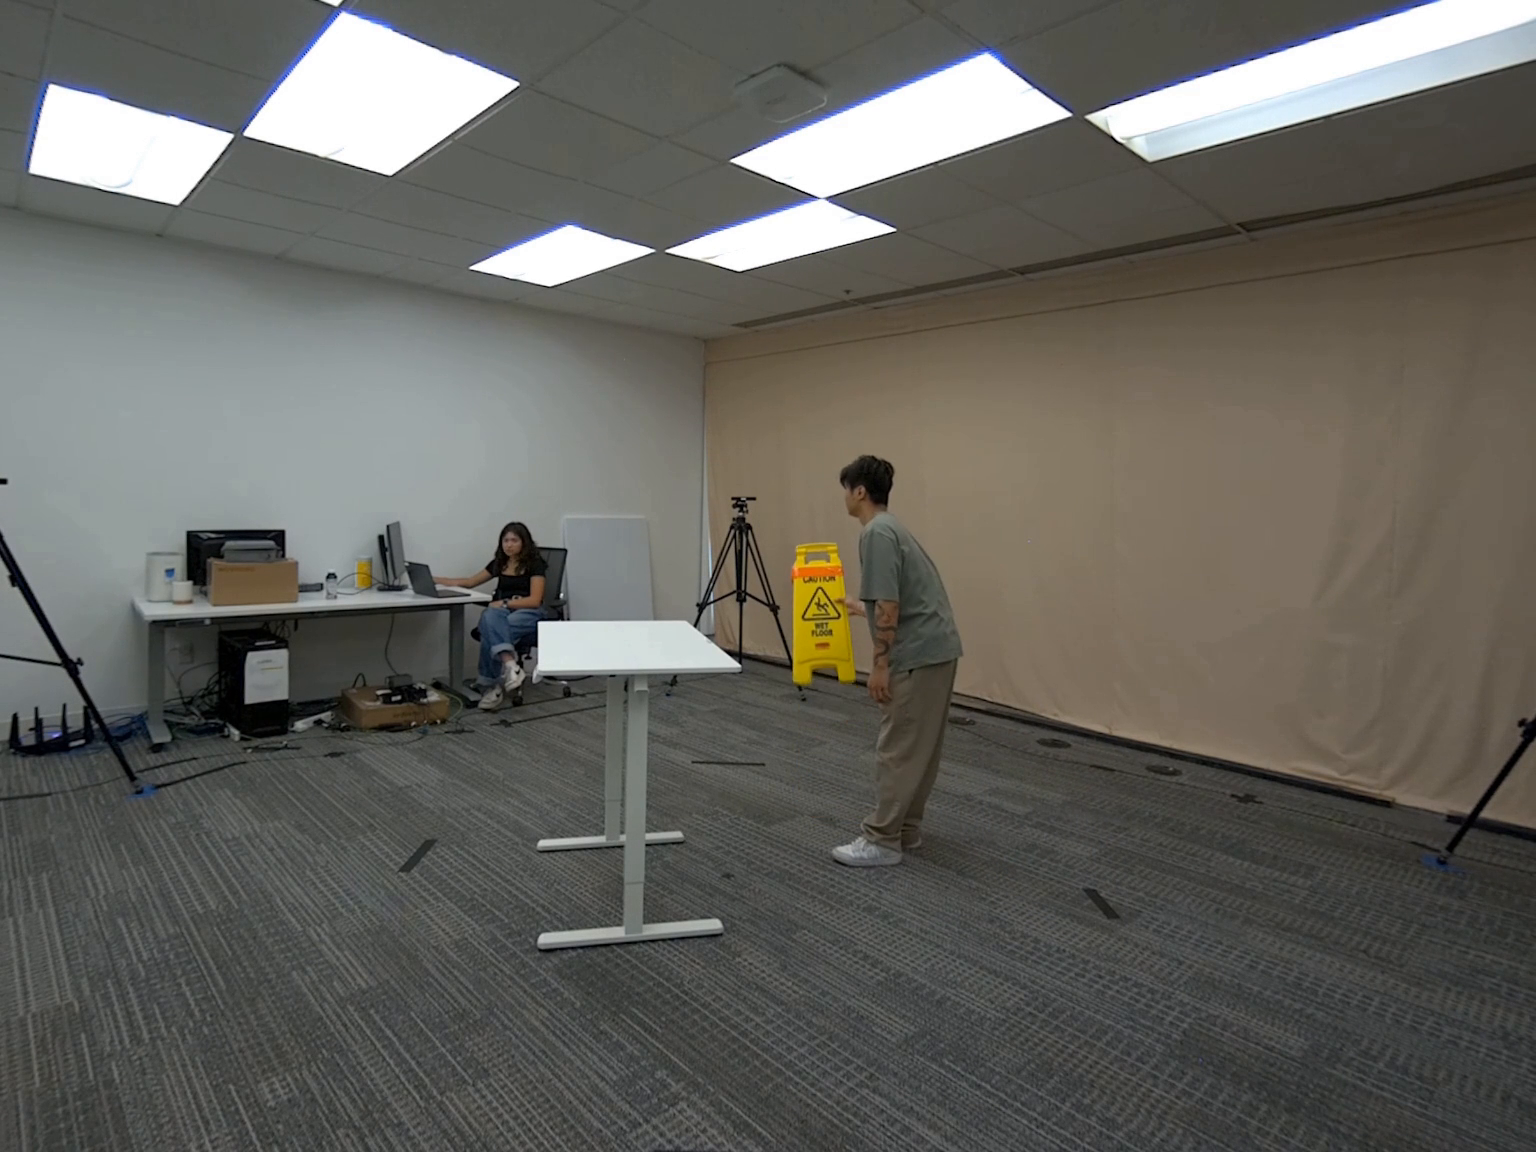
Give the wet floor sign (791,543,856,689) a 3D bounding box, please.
[{"bbox_3d":[0.240,0.170,3.941,0.283,0.652,0.286,-3,-11,5],"label":"wet floor sign"}]
